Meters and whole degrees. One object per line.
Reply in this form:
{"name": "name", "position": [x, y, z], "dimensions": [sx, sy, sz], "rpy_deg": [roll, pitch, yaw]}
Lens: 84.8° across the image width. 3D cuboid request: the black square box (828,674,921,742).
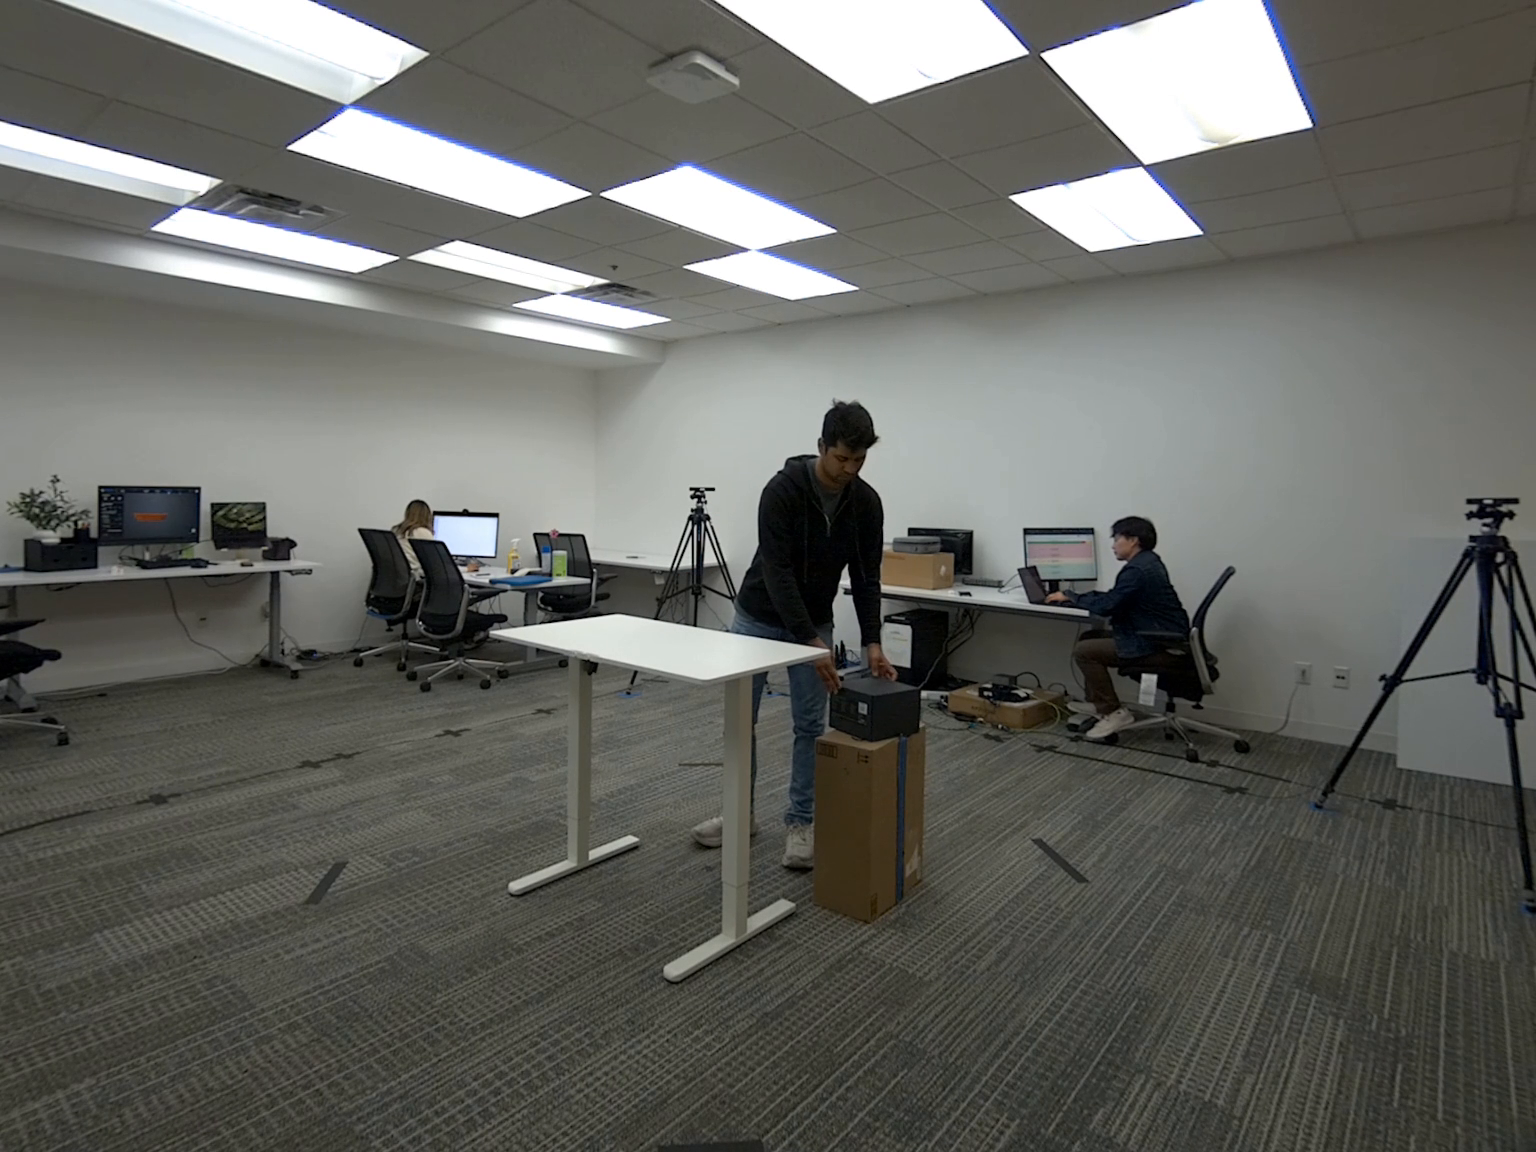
{"name": "black square box", "position": [0.364, 0.451, 2.927], "dimensions": [0.221, 0.155, 0.224], "rpy_deg": [-2, 5, -35]}
